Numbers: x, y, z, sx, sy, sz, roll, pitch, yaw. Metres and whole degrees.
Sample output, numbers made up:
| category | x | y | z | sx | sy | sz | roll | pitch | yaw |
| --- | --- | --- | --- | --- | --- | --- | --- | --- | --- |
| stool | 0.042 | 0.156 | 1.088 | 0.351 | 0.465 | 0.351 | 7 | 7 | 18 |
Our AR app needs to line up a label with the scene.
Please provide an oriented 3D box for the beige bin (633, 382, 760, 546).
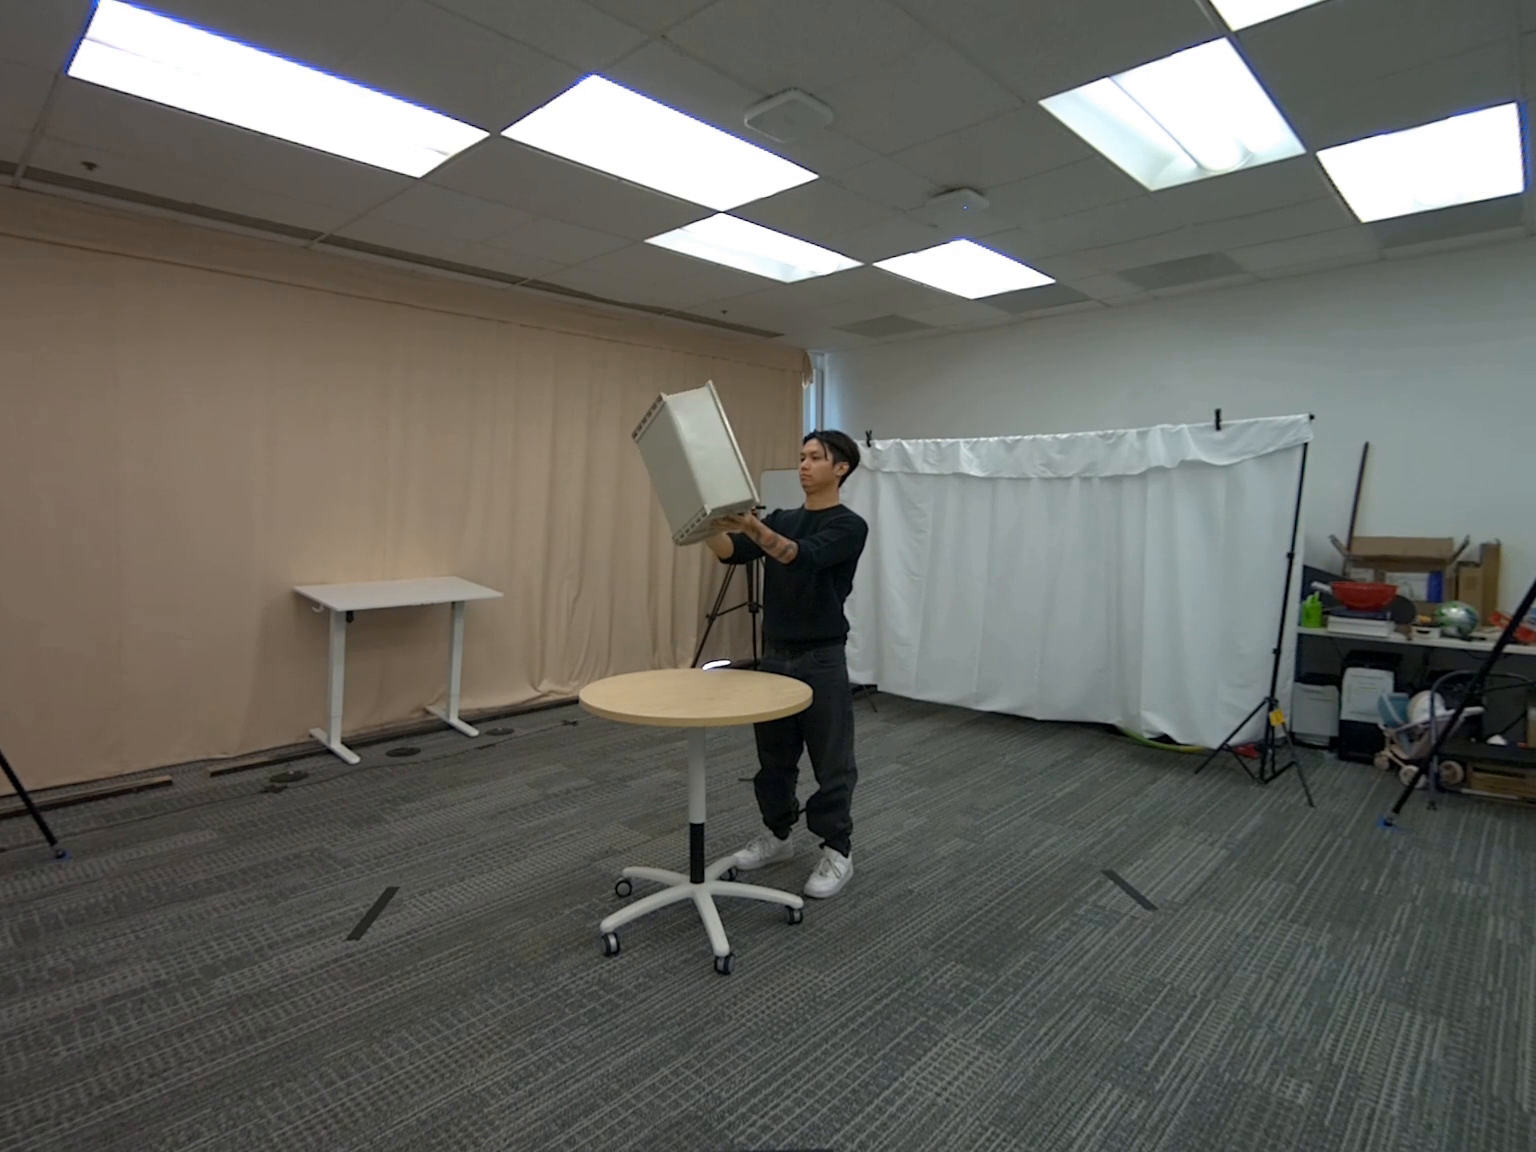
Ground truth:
| category | x | y | z | sx | sy | sz | roll | pitch | yaw |
| --- | --- | --- | --- | --- | --- | --- | --- | --- | --- |
| beige bin | -0.252 | -0.348 | 2.738 | 0.185 | 0.426 | 0.382 | -17 | -8 | -28 |
